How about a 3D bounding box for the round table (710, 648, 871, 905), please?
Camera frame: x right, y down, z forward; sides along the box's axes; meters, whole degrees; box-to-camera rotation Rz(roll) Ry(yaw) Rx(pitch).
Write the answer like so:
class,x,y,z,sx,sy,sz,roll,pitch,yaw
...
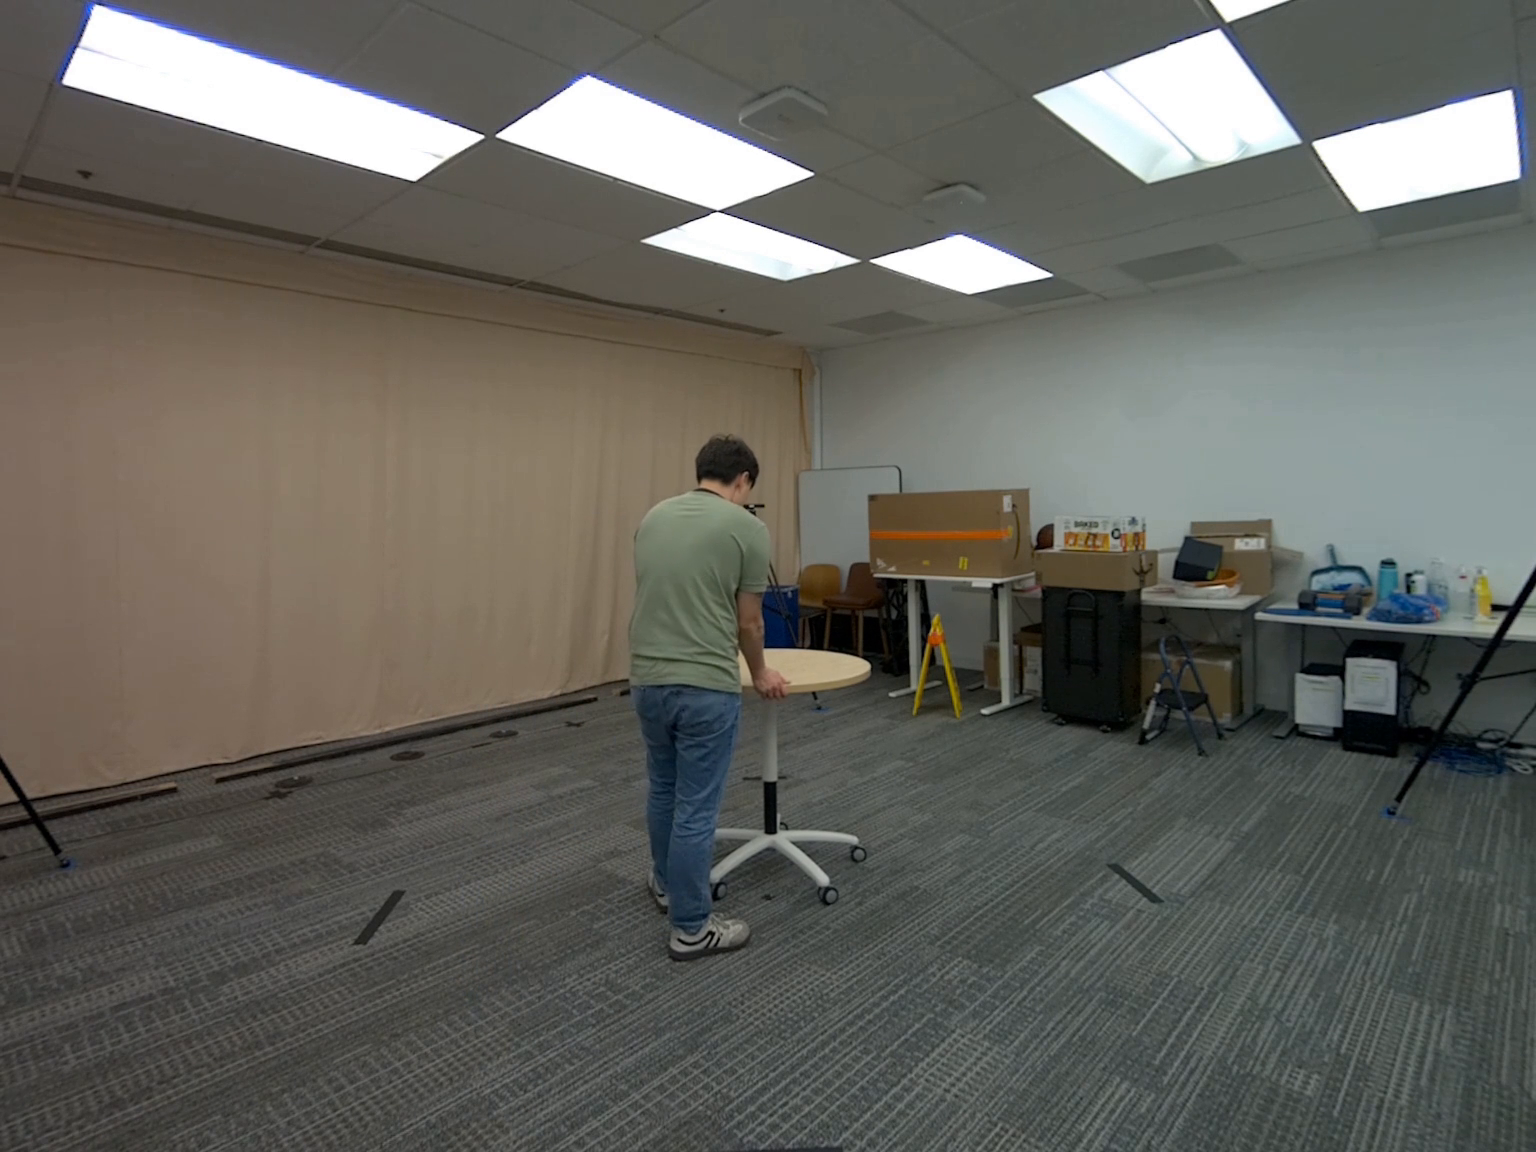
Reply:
class,x,y,z,sx,sy,sz,roll,pitch,yaw
round table,0.015,0.730,3.198,0.763,0.792,0.766,-1,3,-2
